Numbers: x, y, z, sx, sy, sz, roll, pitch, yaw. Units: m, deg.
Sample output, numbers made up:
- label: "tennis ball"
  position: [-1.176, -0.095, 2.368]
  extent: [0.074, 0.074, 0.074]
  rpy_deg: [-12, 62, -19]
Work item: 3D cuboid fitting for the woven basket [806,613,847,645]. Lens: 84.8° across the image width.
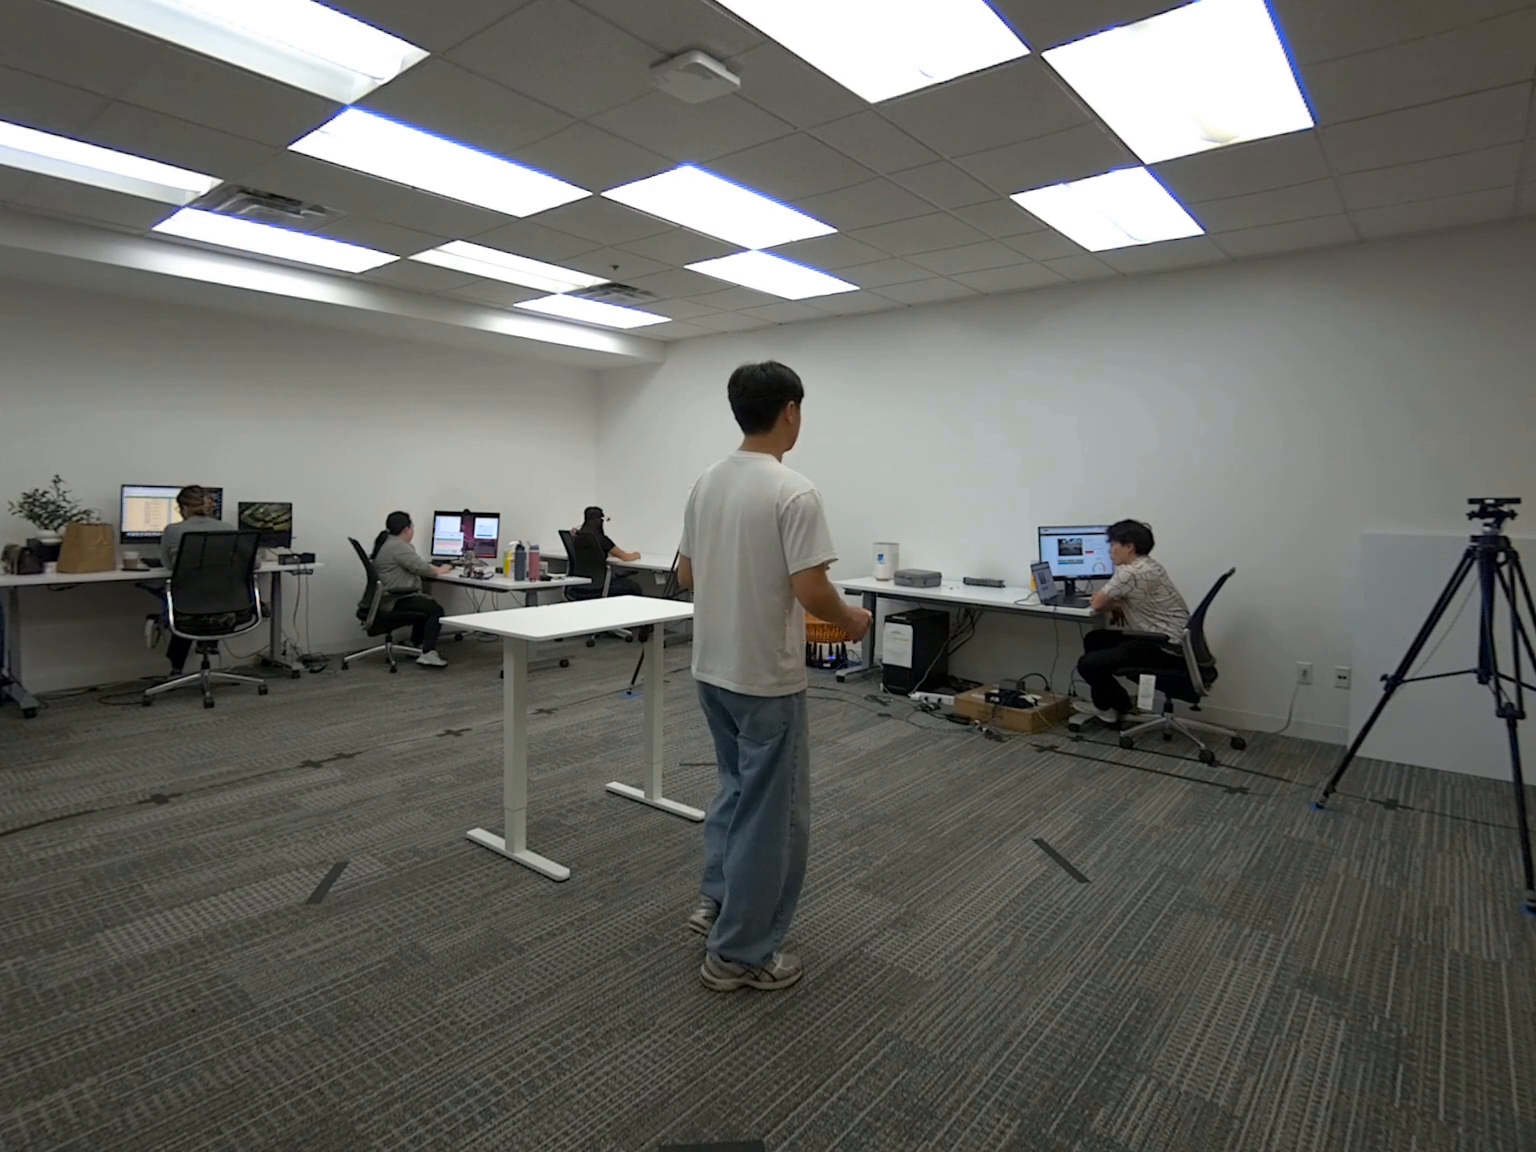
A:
- label: "woven basket"
  position: [0.142, 0.160, 2.595]
  extent: [0.246, 0.073, 0.362]
  rpy_deg: [-10, 10, -37]
